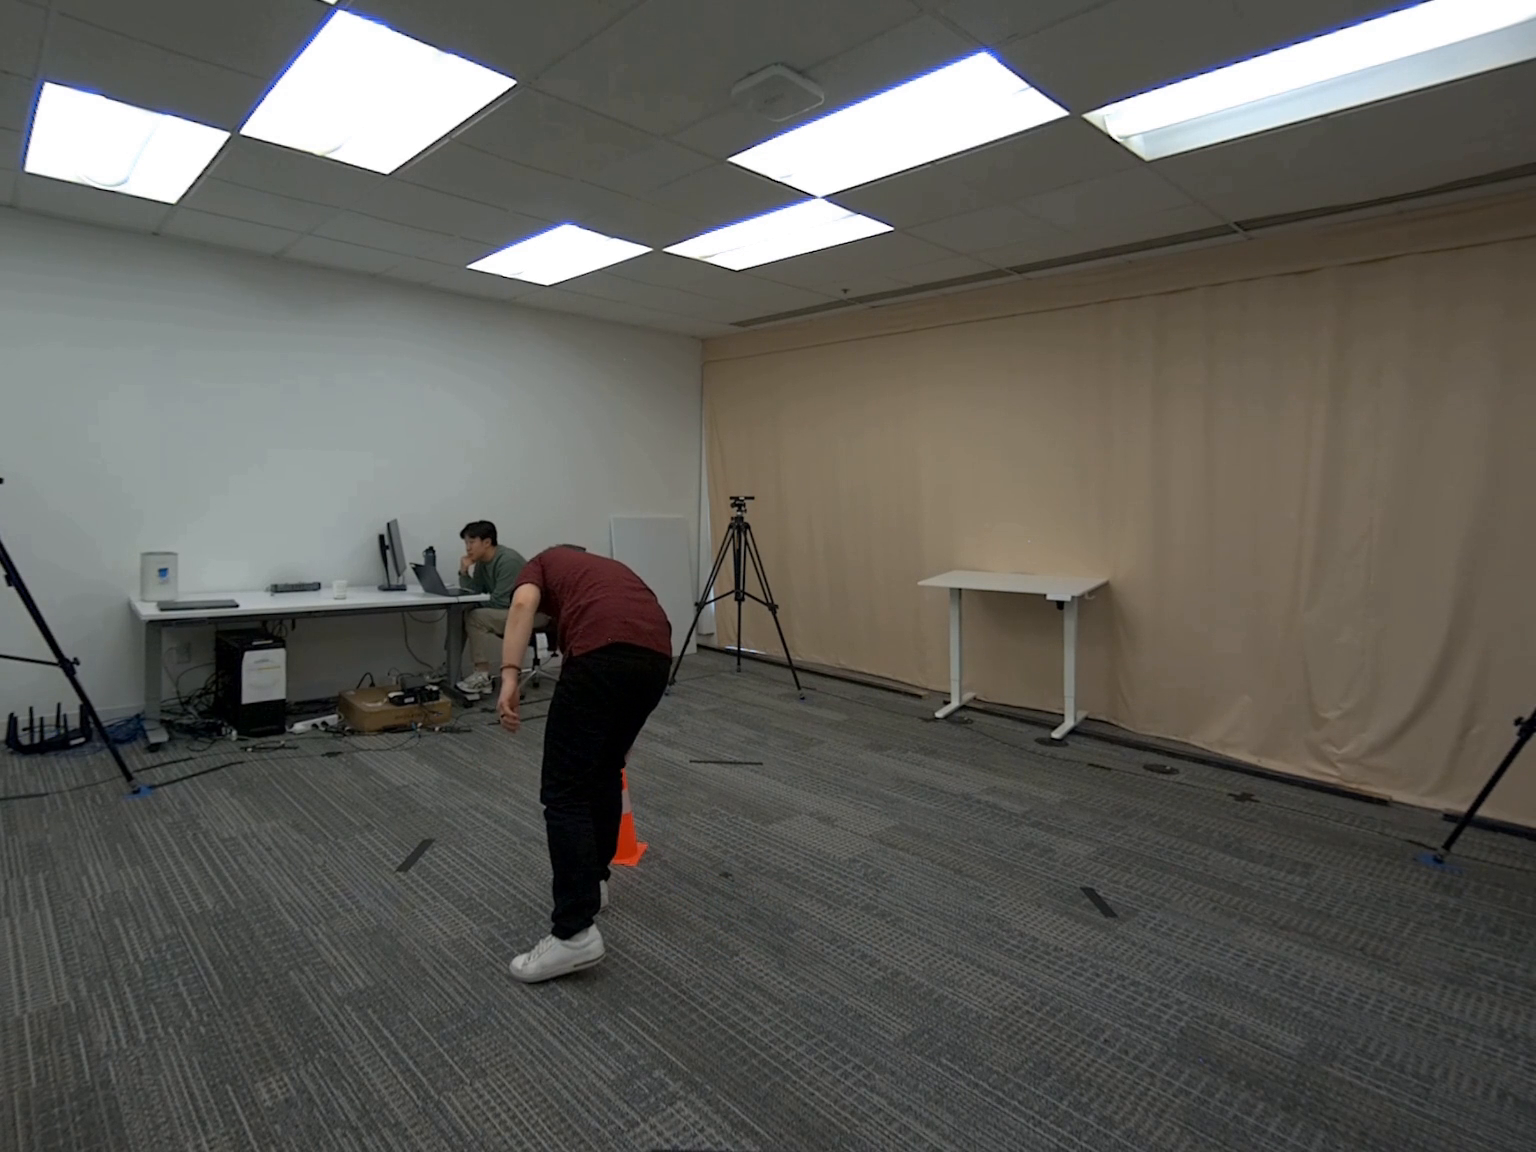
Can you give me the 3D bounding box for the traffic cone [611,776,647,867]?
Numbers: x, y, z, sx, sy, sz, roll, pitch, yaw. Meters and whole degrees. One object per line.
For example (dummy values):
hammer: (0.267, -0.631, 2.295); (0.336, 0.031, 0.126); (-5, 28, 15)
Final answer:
traffic cone: (-0.596, 0.899, 3.269); (0.206, 0.383, 0.202); (1, 3, 9)
